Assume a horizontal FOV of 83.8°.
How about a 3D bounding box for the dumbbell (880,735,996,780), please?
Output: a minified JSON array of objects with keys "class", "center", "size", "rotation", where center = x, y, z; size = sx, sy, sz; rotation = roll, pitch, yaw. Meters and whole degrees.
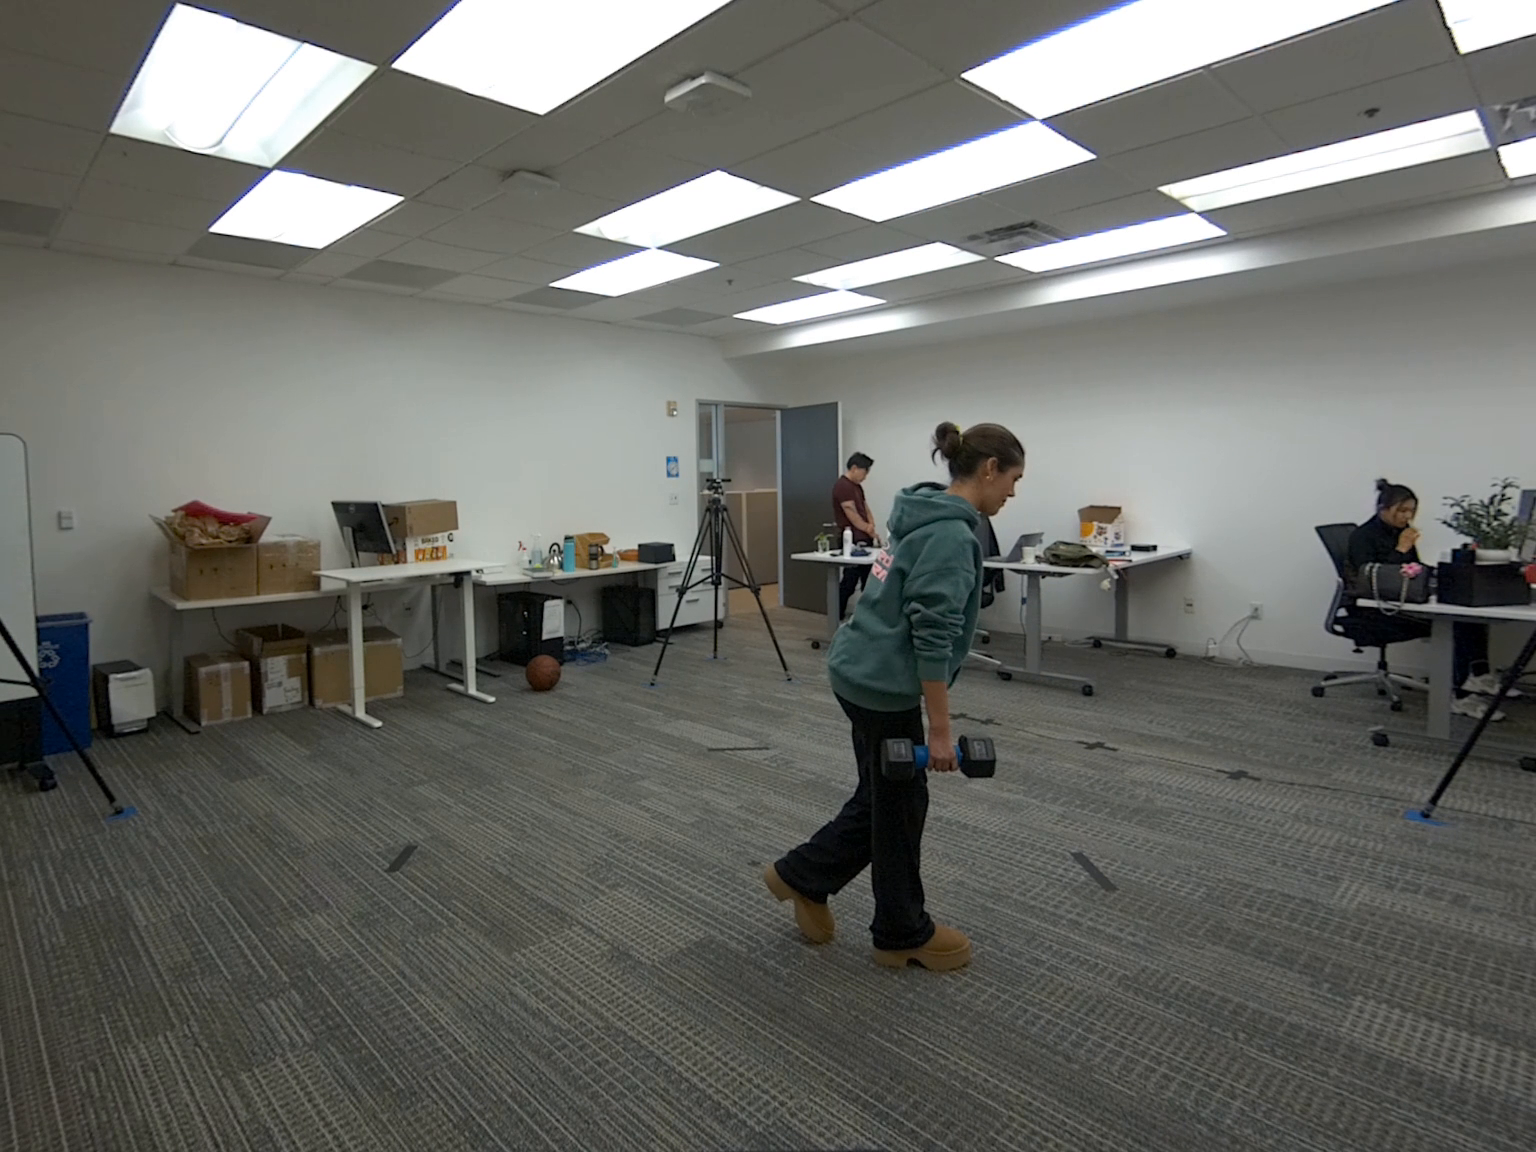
[{"class":"dumbbell","center":[0.461,0.489,2.290],"size":[0.294,0.120,0.111],"rotation":[-2,26,1]}]
